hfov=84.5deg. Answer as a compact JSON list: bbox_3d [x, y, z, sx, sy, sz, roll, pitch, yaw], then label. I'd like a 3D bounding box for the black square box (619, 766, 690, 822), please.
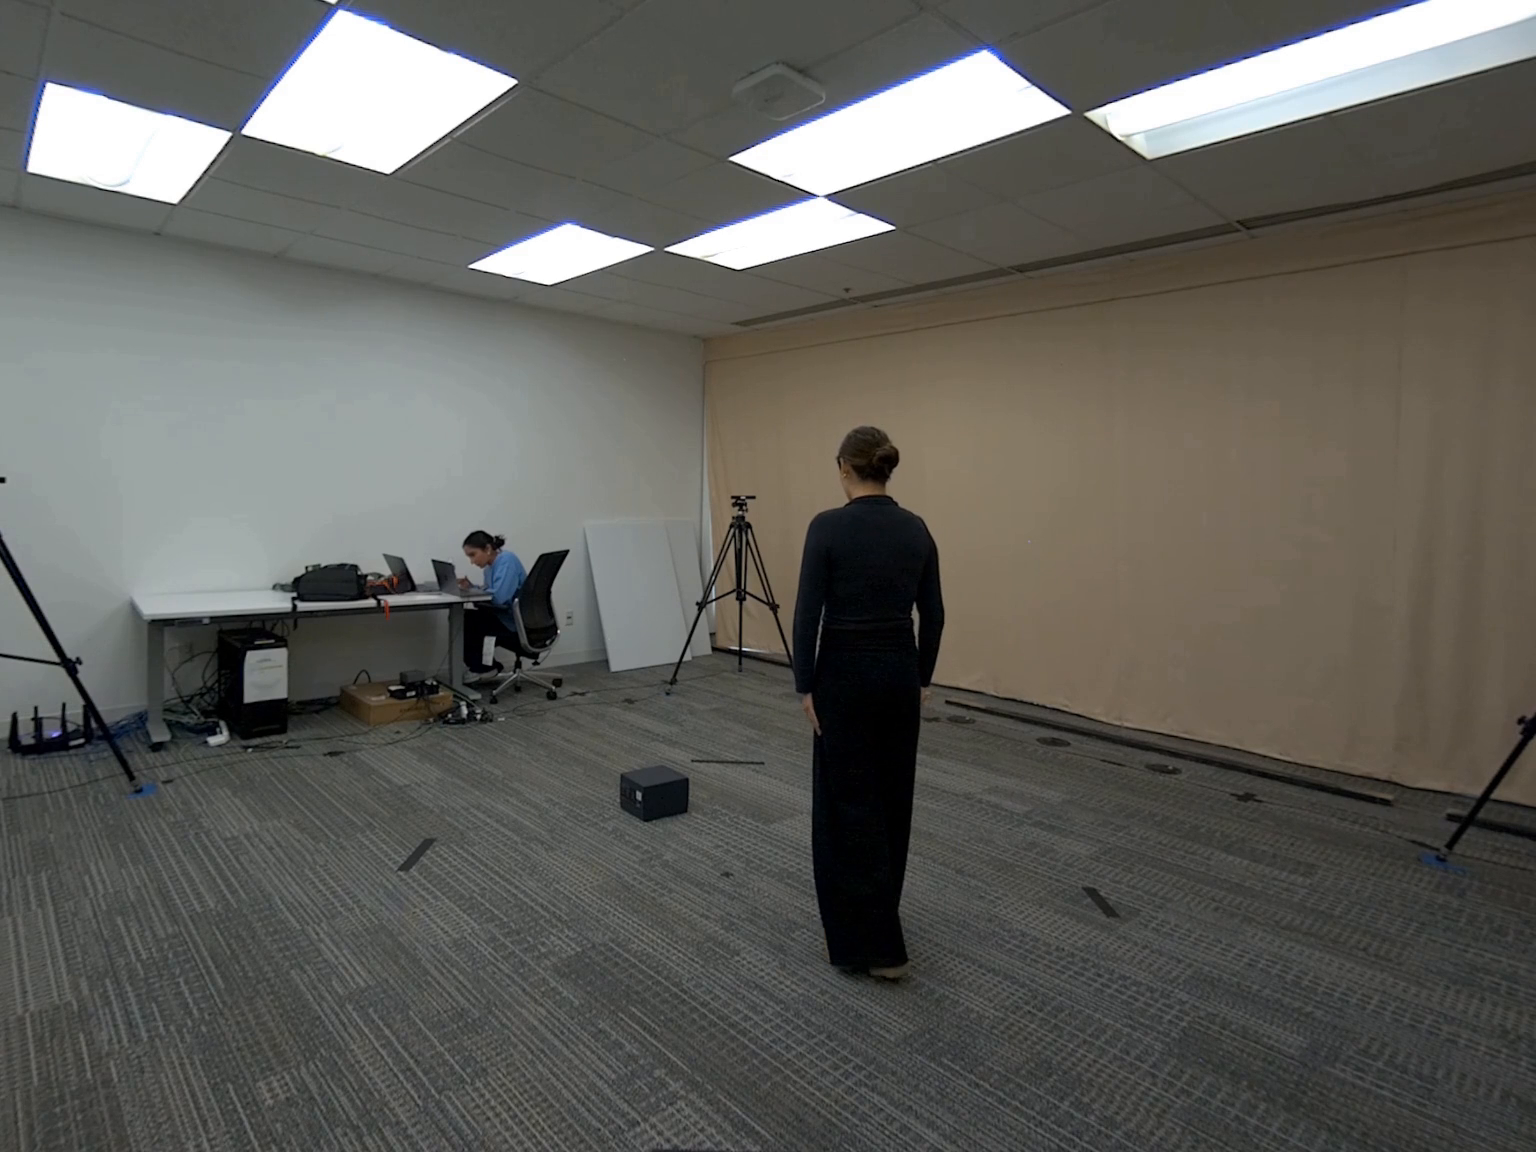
[{"bbox_3d":[-0.510,0.956,3.726,0.223,0.155,0.222,-2,5,-38],"label":"black square box"}]
